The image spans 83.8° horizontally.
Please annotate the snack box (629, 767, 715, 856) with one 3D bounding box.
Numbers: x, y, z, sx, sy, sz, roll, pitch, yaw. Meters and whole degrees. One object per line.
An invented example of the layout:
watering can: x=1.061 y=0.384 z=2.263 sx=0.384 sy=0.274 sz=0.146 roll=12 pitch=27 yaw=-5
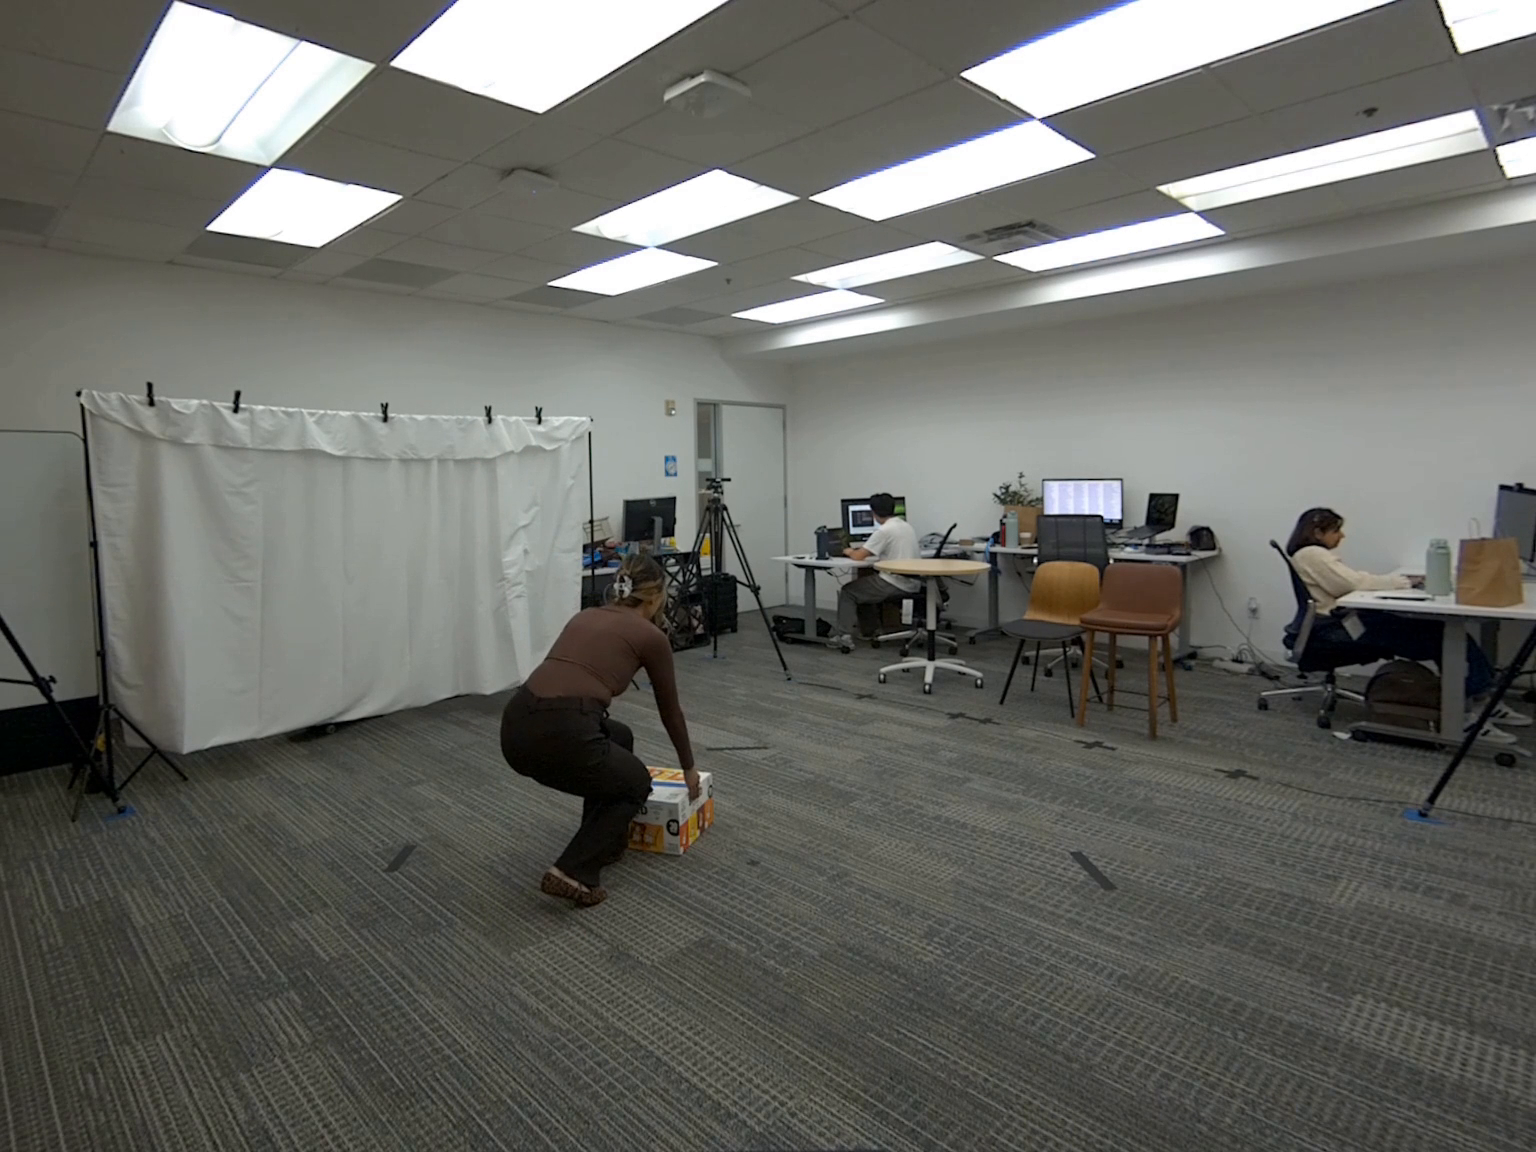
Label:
snack box: x=-0.468 y=0.913 z=3.386 sx=0.413 sy=0.205 sz=0.335 roll=1 pitch=6 yaw=19
